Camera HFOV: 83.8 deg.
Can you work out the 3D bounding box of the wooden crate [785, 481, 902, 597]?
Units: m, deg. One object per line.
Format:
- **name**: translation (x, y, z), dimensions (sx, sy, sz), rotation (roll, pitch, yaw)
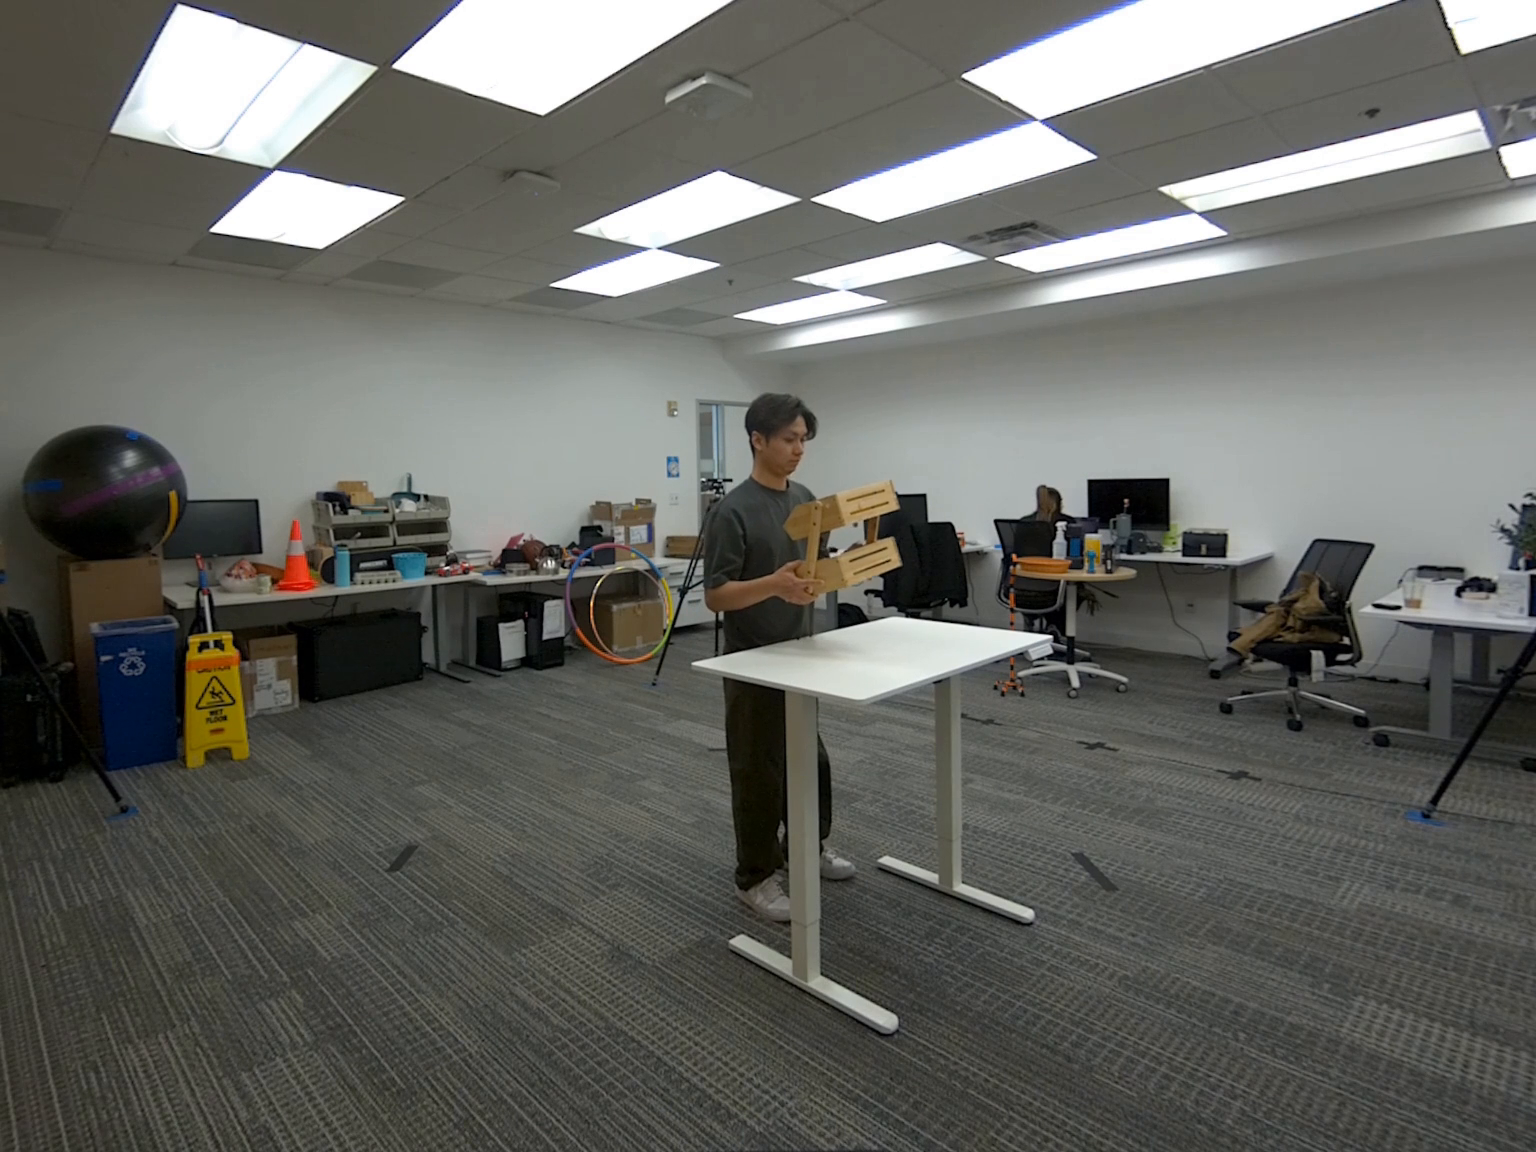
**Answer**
- **wooden crate**: translation (0.200, -0.110, 2.566), dimensions (0.308, 0.273, 0.318), rotation (-16, 1, 43)
